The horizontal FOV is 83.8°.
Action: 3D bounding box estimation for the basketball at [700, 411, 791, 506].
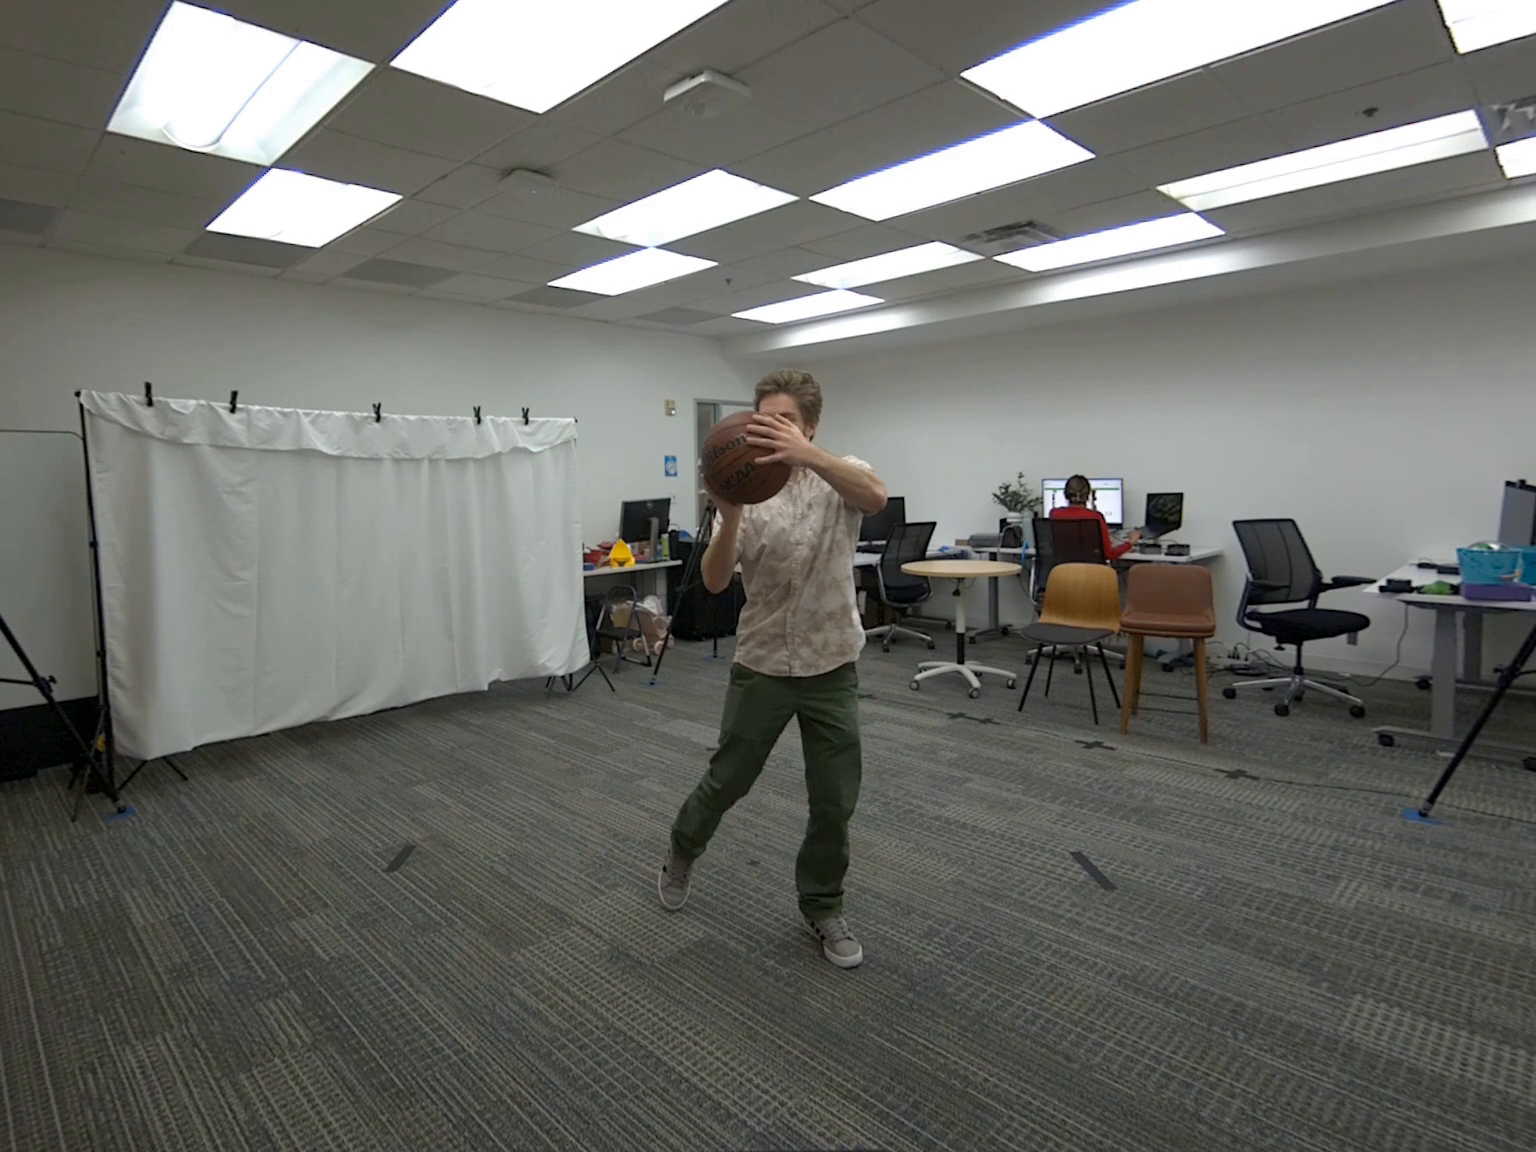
[{"bbox_3d":[-0.044,-0.302,2.170,0.236,0.235,0.237,-1,5,-2],"label":"basketball"}]
